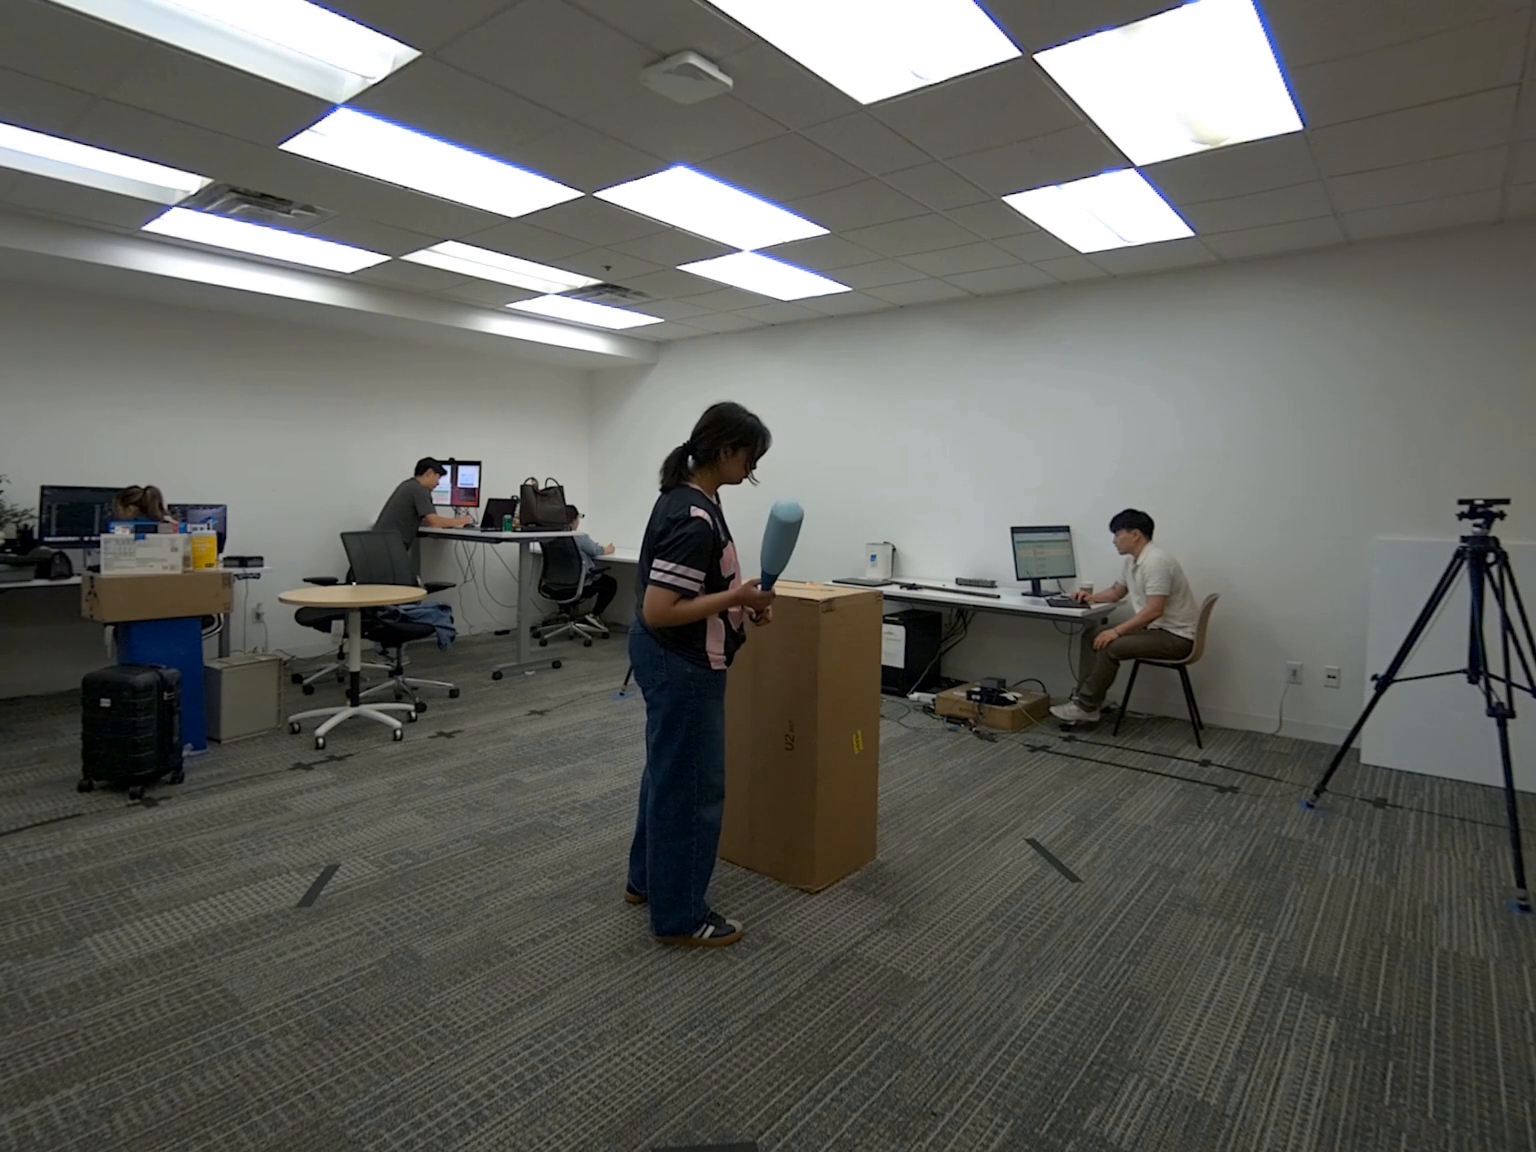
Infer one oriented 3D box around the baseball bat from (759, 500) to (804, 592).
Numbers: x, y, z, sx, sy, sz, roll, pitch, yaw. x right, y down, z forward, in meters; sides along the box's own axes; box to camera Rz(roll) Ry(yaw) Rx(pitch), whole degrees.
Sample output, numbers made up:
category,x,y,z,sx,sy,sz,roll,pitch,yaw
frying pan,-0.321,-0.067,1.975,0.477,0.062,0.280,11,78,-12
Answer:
category,x,y,z,sx,sy,sz,roll,pitch,yaw
baseball bat,-0.003,-0.007,2.384,0.088,0.092,0.533,1,-34,-14
